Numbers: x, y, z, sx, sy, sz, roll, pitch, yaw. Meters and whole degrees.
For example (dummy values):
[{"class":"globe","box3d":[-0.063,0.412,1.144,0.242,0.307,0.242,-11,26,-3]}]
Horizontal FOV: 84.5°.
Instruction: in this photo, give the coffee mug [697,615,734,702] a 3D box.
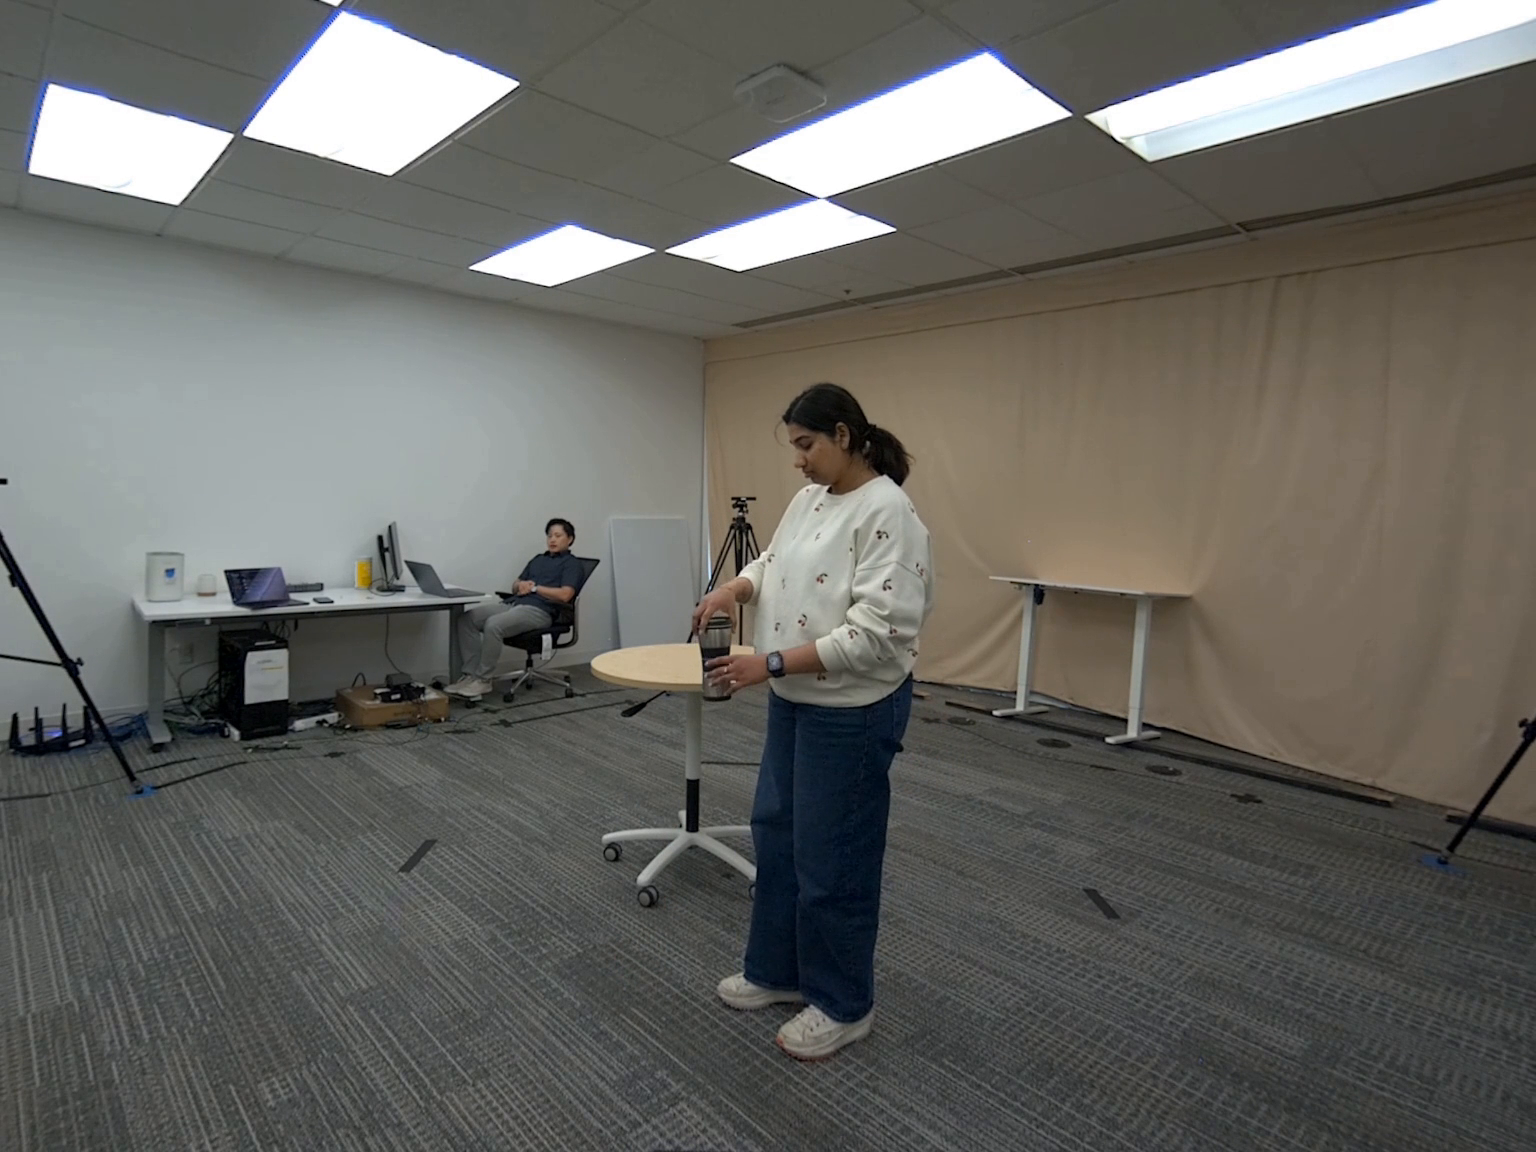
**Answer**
[{"class":"coffee mug","box3d":[-0.111,0.214,2.123,0.119,0.203,0.089,-2,-3,-34]}]
